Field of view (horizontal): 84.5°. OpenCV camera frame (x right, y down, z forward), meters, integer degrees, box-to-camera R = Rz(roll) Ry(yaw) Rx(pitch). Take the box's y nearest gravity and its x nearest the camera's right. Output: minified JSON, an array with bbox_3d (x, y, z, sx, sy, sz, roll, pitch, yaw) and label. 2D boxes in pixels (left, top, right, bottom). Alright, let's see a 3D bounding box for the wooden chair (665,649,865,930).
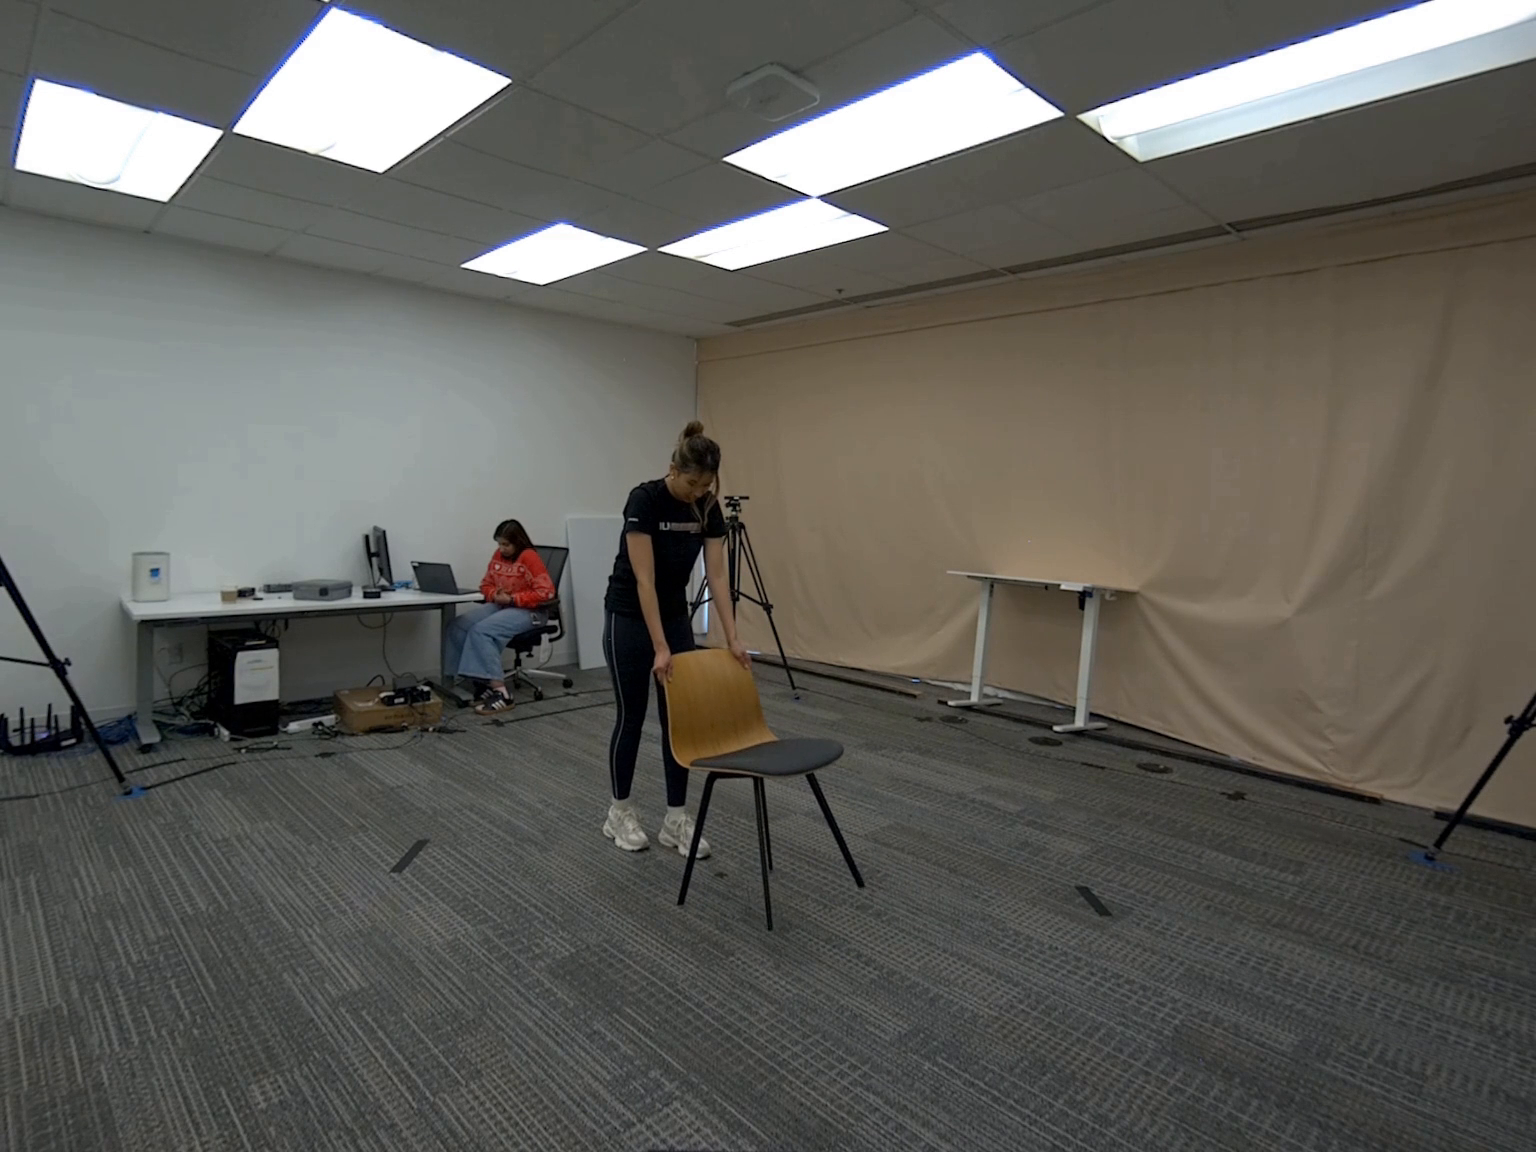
[{"bbox_3d":[-0.041,0.665,2.872,0.467,0.884,0.531,-2,-11,-43],"label":"wooden chair"}]
